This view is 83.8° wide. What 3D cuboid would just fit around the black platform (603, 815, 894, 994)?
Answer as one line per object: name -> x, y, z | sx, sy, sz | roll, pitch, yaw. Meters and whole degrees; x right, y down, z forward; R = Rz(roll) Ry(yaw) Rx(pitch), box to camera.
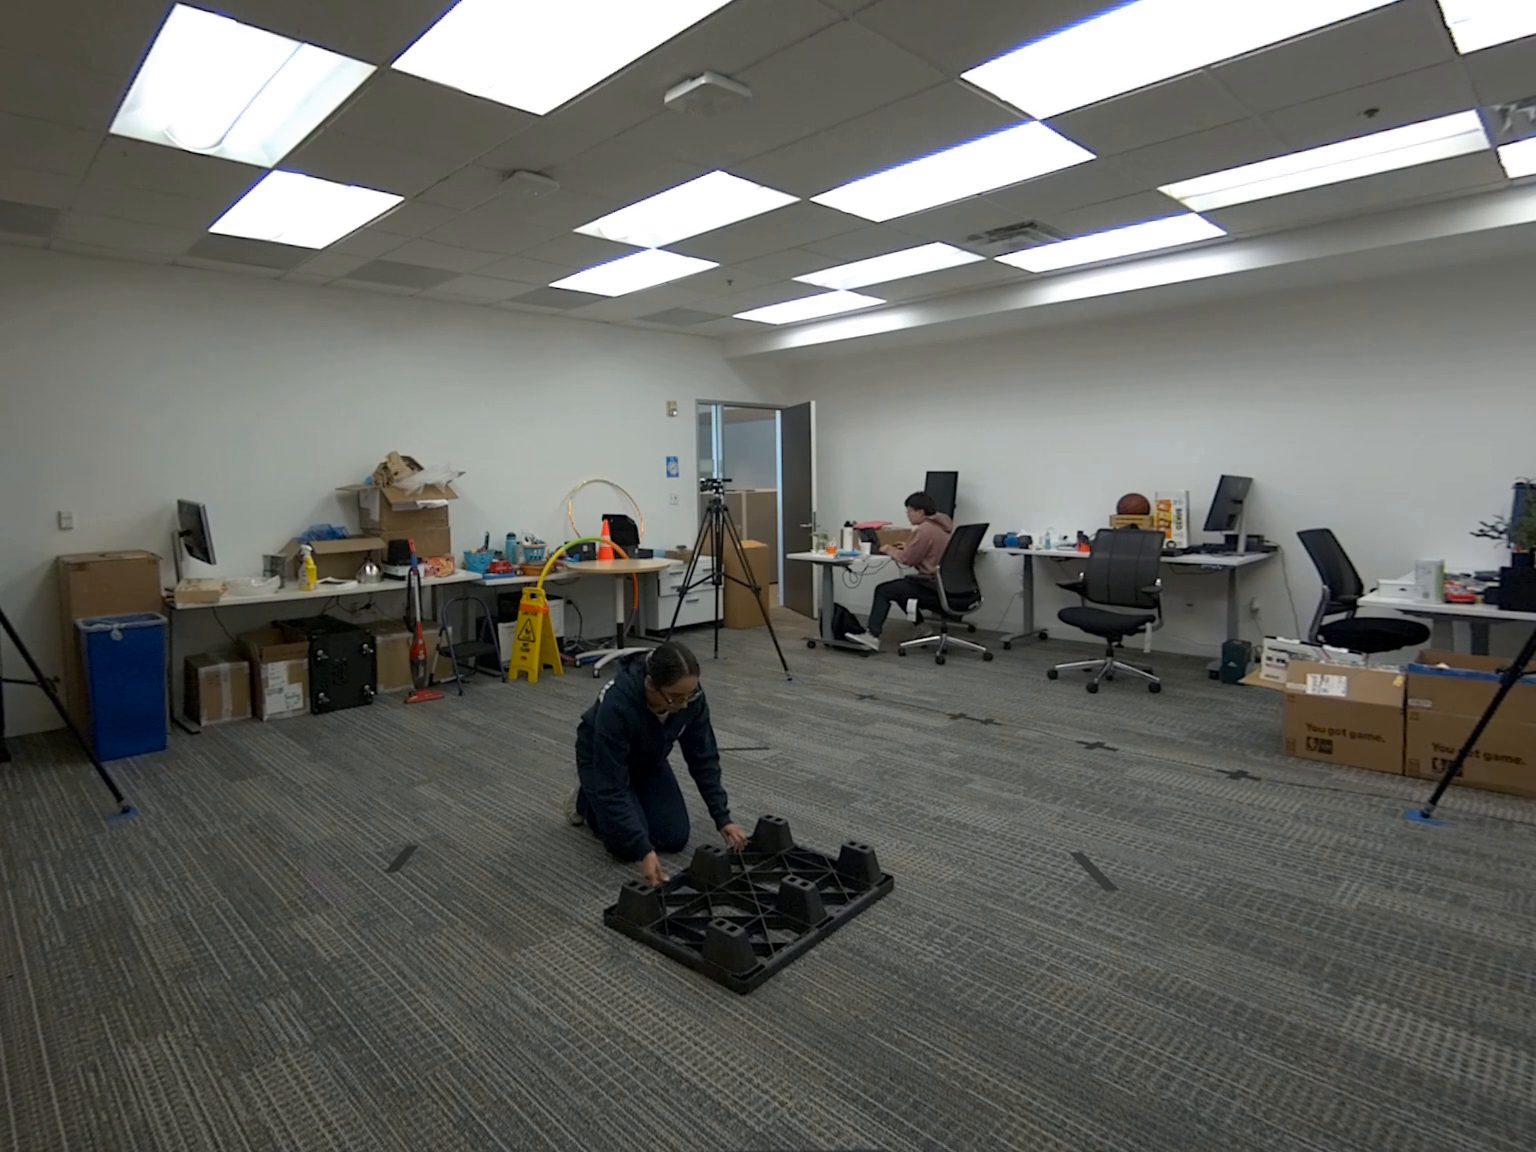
black platform -> -0.045, 1.013, 2.800 | 0.624, 0.142, 0.785 | 5, 9, 39
